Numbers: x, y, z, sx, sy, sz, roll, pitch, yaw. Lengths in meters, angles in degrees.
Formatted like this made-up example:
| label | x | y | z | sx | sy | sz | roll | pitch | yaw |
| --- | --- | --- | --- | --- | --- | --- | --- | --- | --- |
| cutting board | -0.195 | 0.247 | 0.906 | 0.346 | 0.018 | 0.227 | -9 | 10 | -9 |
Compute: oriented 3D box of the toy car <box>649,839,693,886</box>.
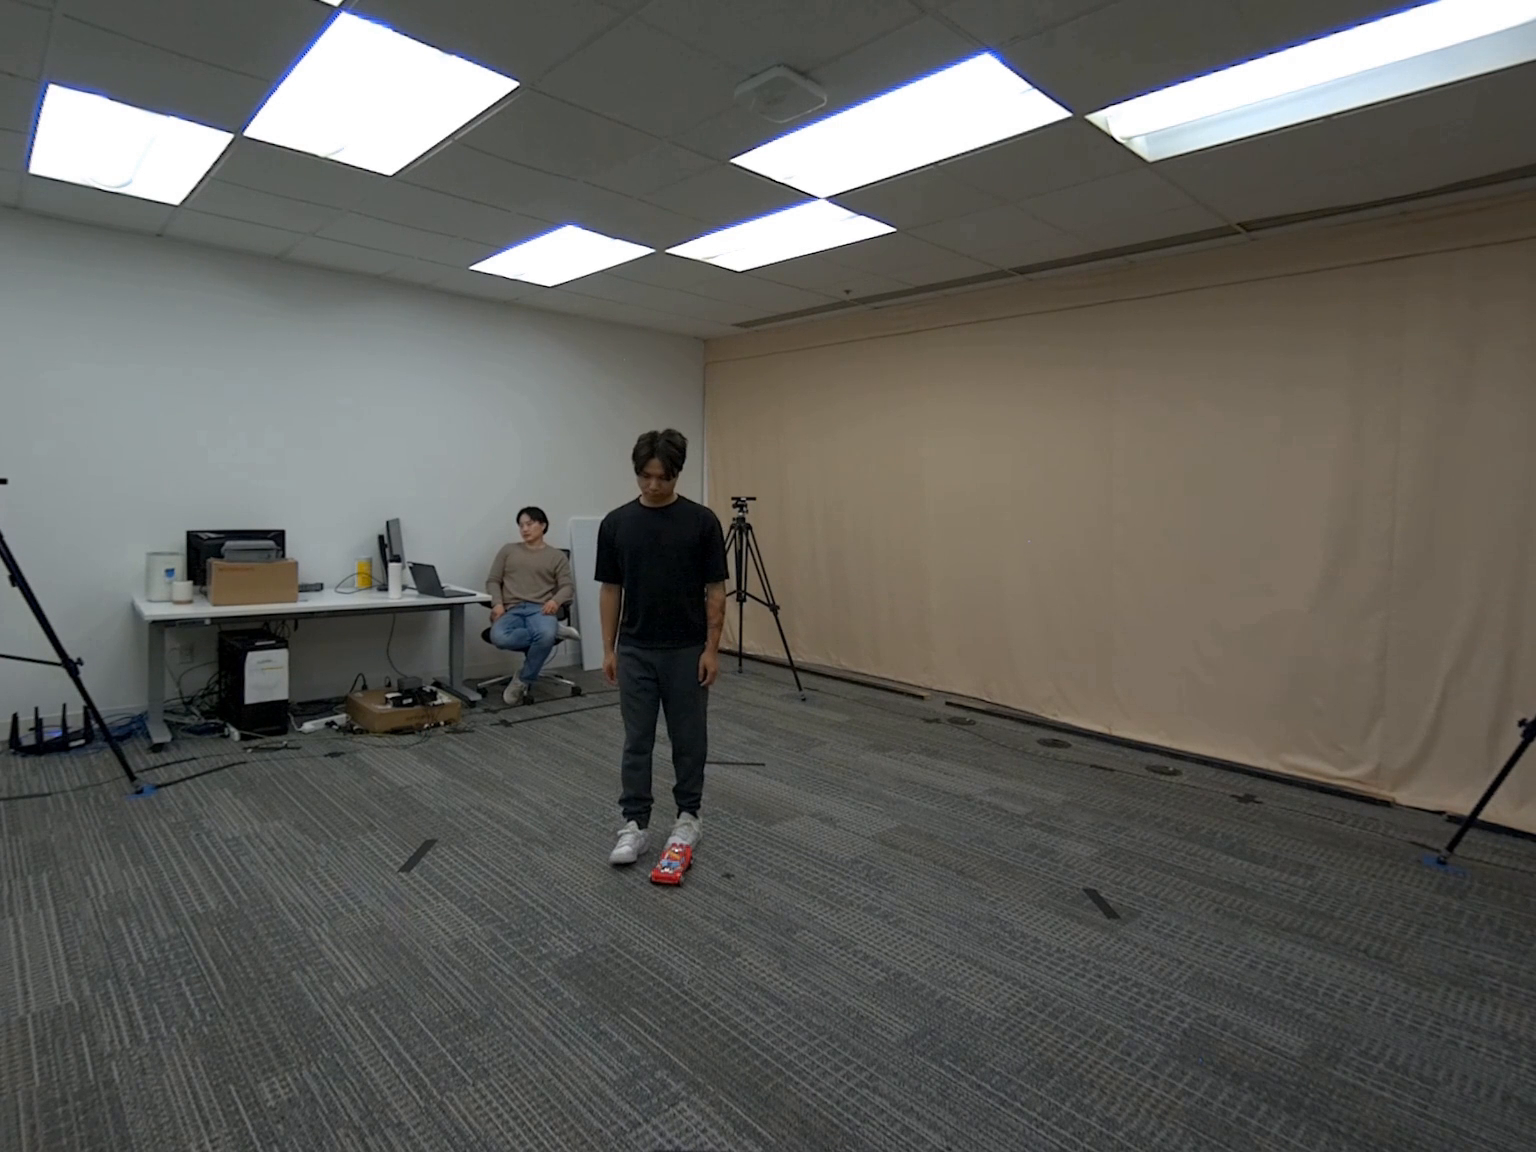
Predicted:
| label | x | y | z | sx | sy | sz | roll | pitch | yaw |
| --- | --- | --- | --- | --- | --- | --- | --- | --- | --- |
| toy car | -0.363 | 1.070 | 3.115 | 0.131 | 0.082 | 0.256 | 1 | 17 | 8 |
